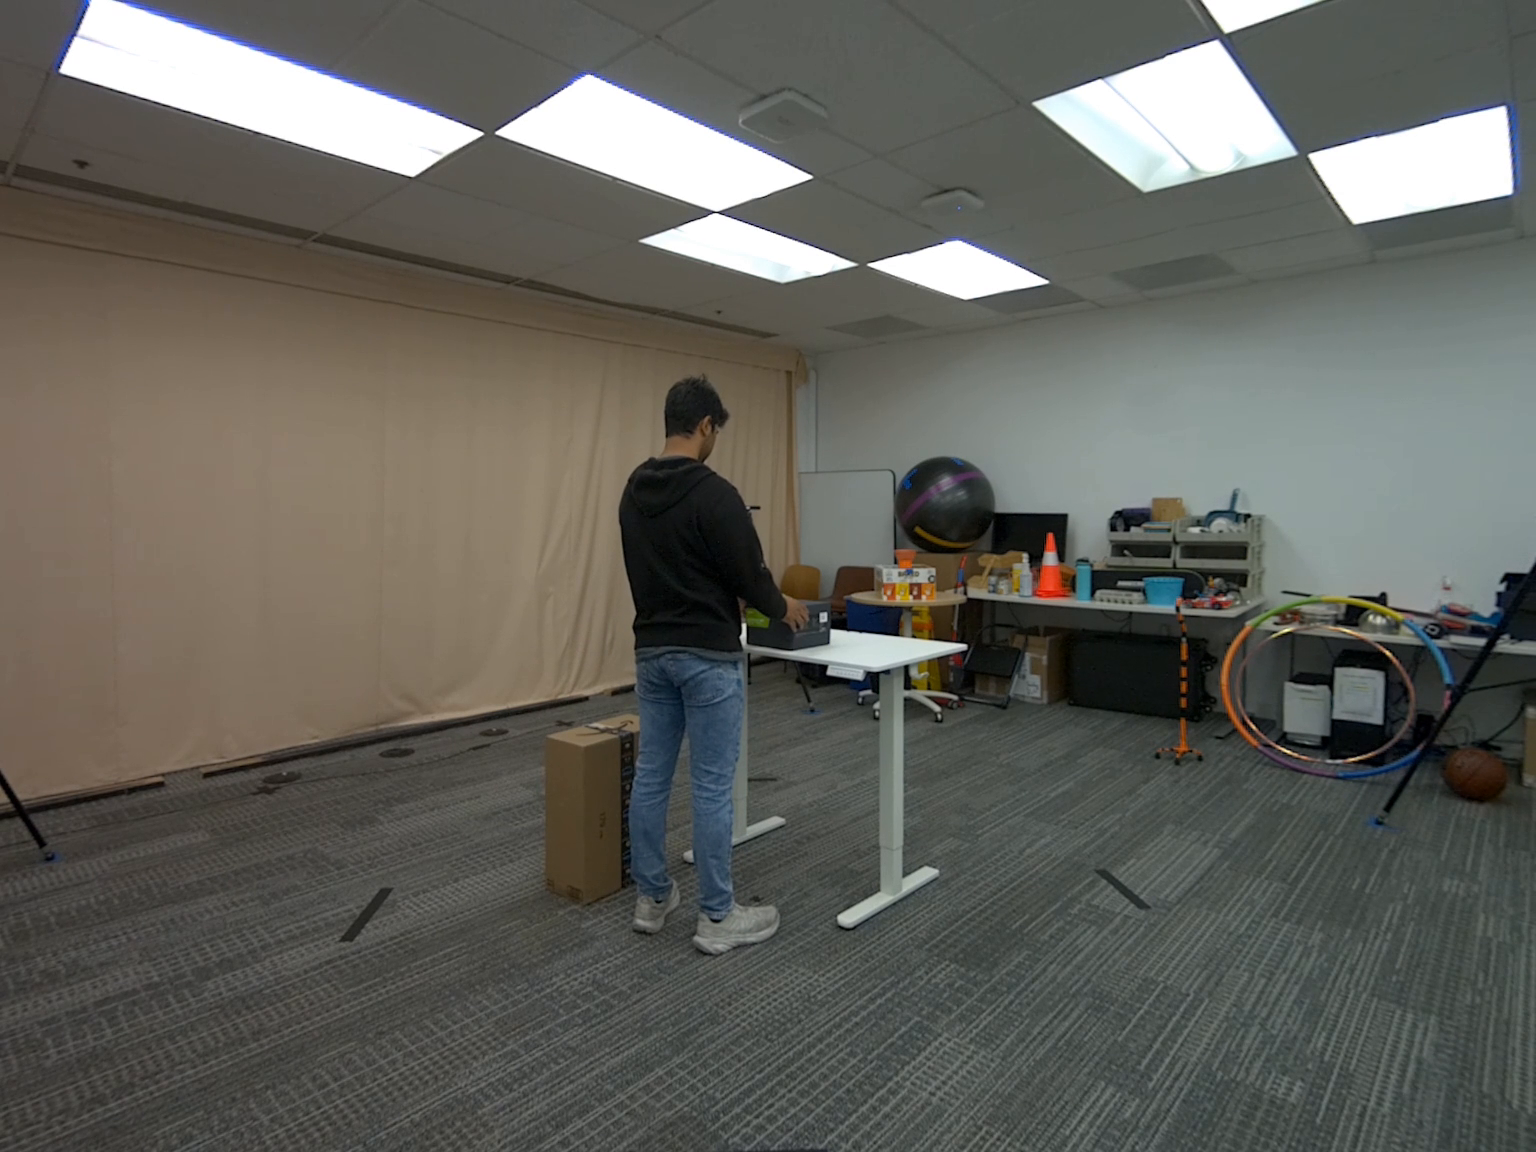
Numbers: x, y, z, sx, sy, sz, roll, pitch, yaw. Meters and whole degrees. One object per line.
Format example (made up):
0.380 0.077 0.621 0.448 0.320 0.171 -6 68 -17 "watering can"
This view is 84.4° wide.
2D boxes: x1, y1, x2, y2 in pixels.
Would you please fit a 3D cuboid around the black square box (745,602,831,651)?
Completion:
0.080 0.173 3.097 0.210 0.155 0.235 -3 5 -44 "black square box"
